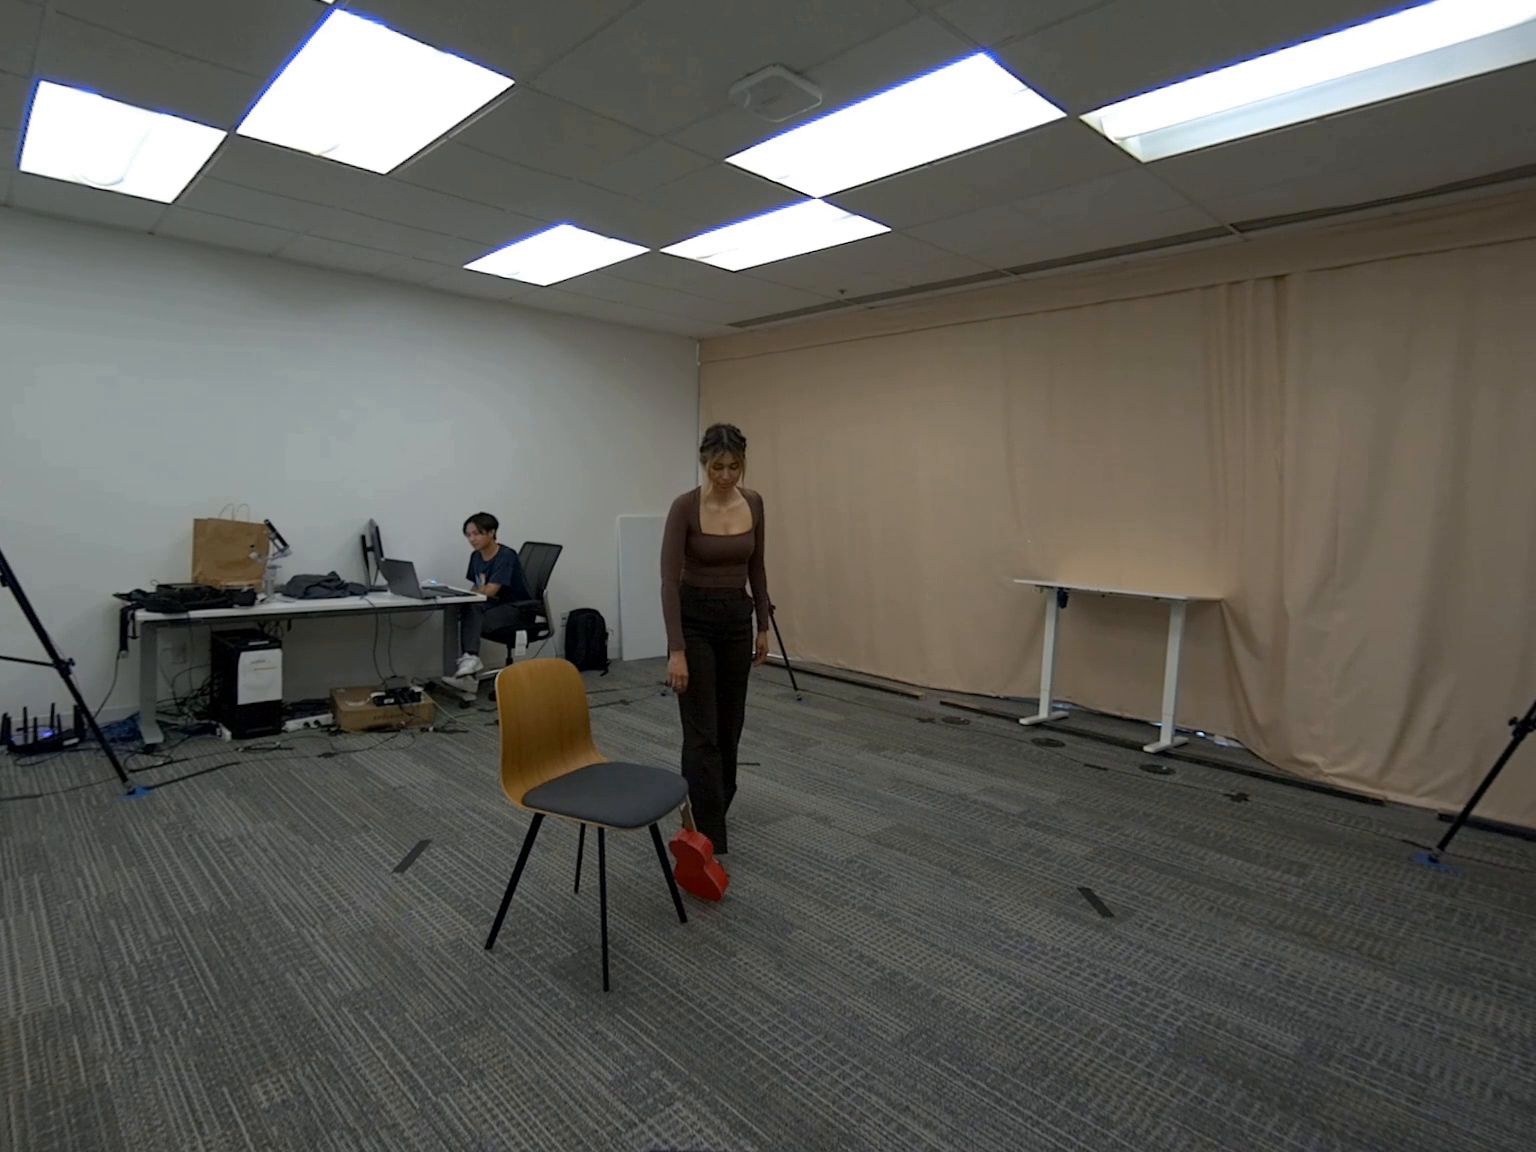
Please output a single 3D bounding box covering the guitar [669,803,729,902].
[{"bbox_3d":[-0.295,0.896,2.866,0.197,0.488,0.070,-2,26,34],"label":"guitar"}]
